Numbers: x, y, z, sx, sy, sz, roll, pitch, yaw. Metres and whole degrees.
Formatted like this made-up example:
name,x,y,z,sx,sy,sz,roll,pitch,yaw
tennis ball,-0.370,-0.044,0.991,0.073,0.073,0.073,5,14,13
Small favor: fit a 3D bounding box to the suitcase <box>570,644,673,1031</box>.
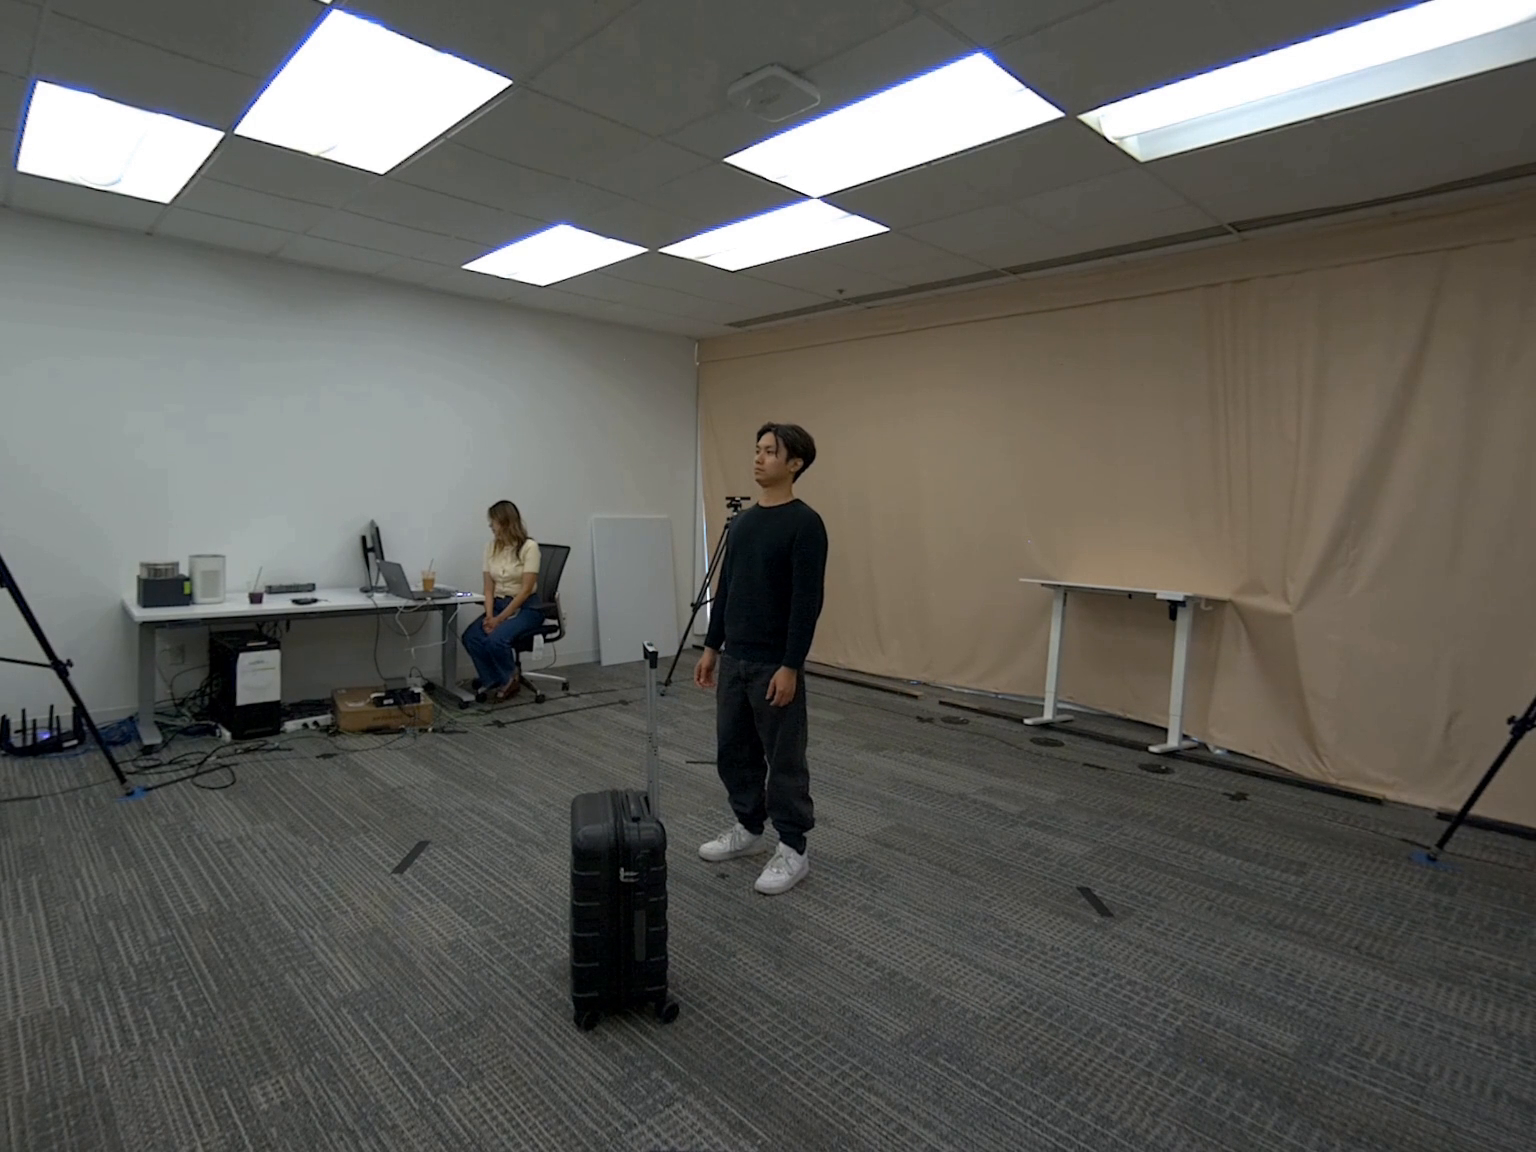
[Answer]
name,x,y,z,sx,sy,sz,roll,pitch,yaw
suitcase,-0.433,0.702,2.311,0.255,0.975,0.388,-1,4,-12
